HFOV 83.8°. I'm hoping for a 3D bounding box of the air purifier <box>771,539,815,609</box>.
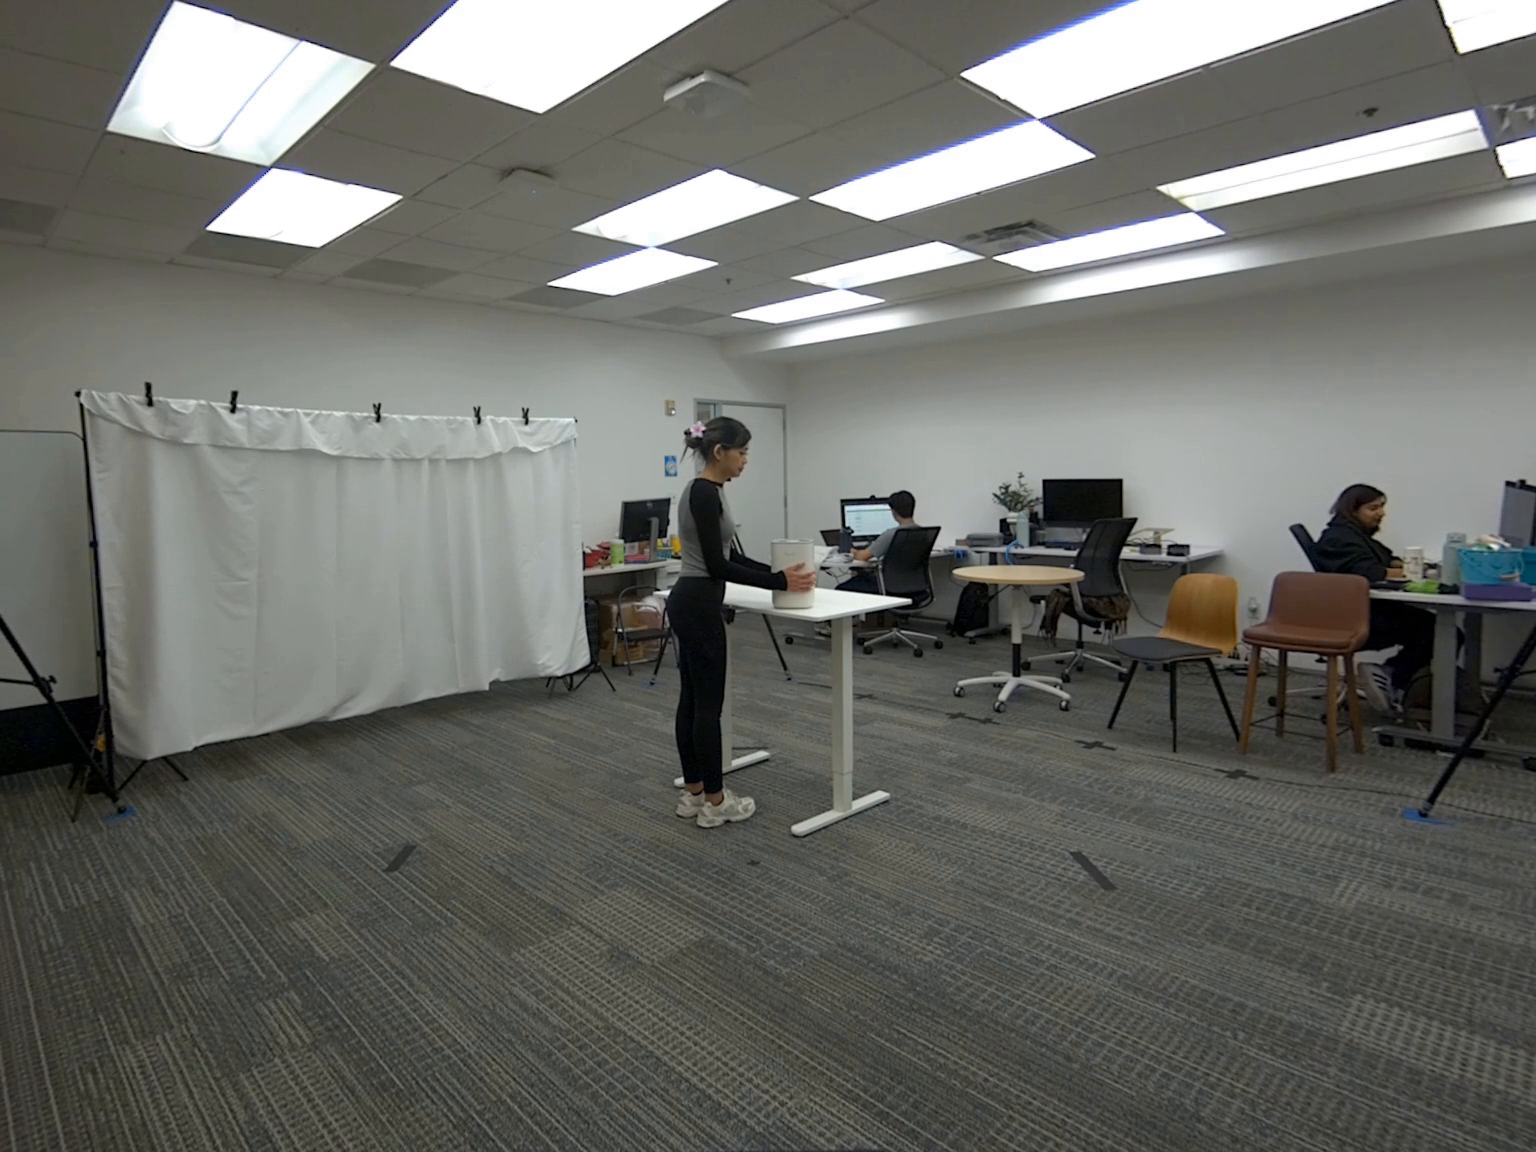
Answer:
[{"bbox_3d":[0.097,-0.008,3.431,0.172,0.264,0.171,0,5,8],"label":"air purifier"}]
